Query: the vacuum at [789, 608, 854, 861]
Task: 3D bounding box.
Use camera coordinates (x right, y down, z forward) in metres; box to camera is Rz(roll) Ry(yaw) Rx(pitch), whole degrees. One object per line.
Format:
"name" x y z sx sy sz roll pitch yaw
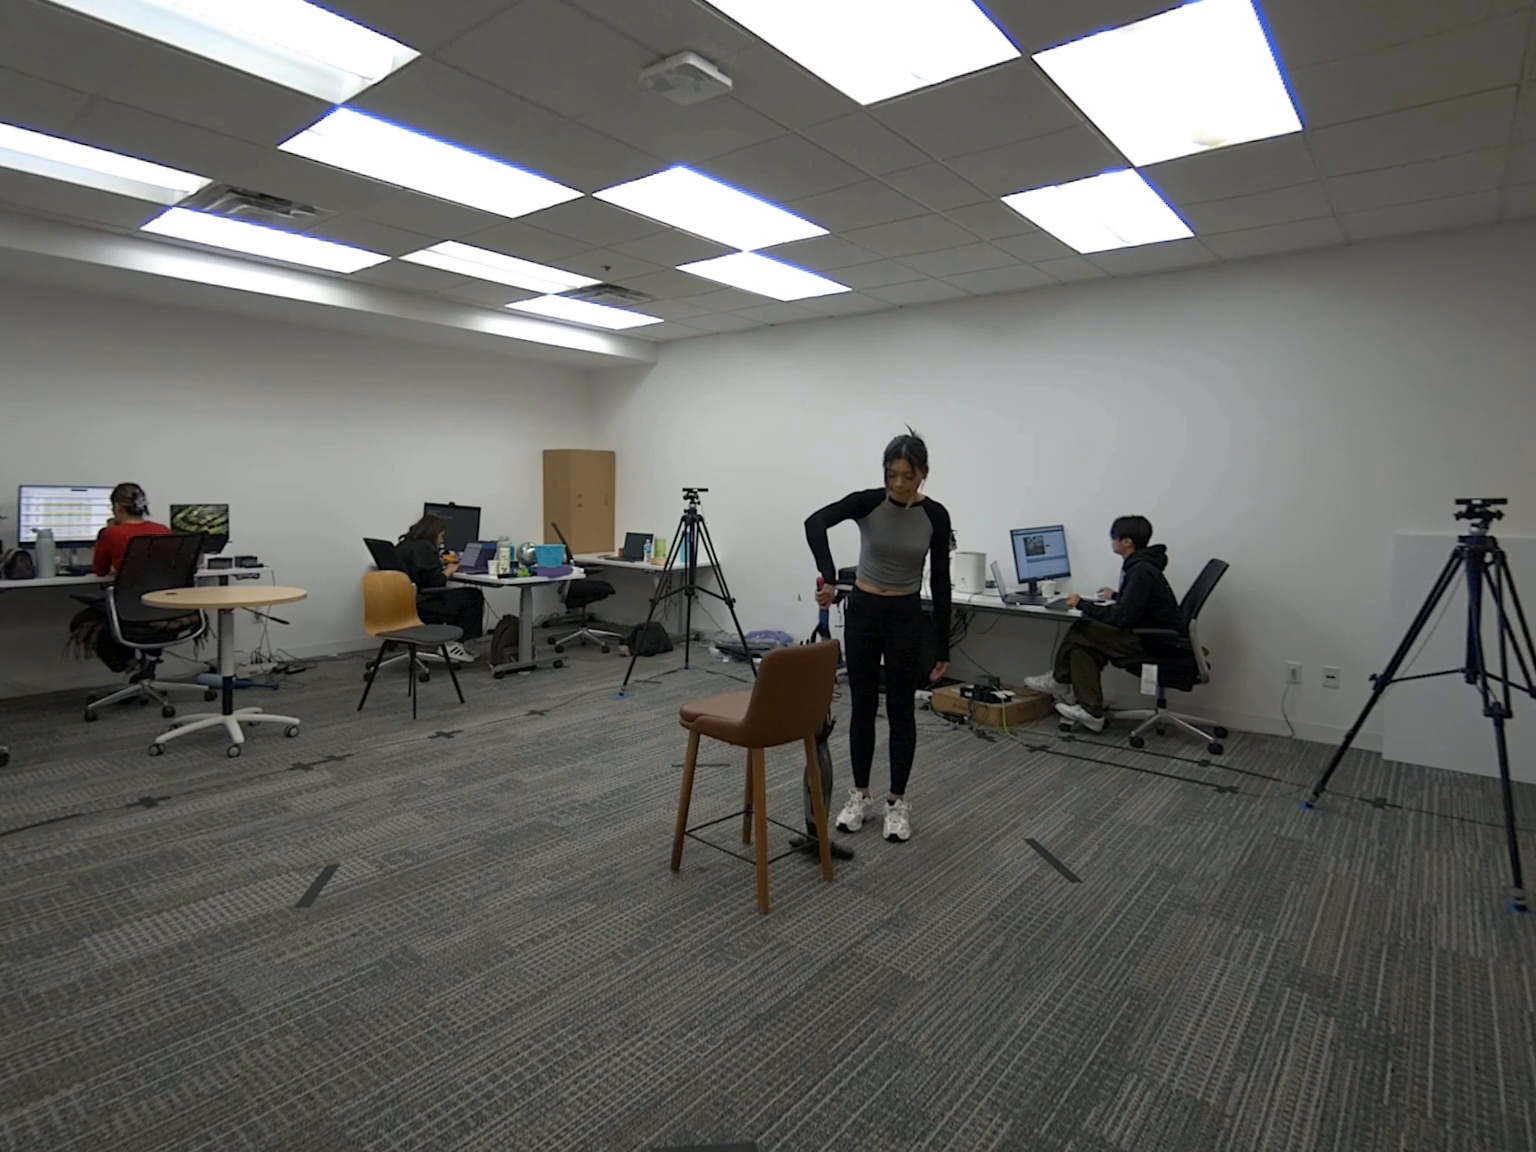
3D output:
"vacuum" 0.196 0.525 3.179 0.247 1.048 0.147 -2 1 -25
